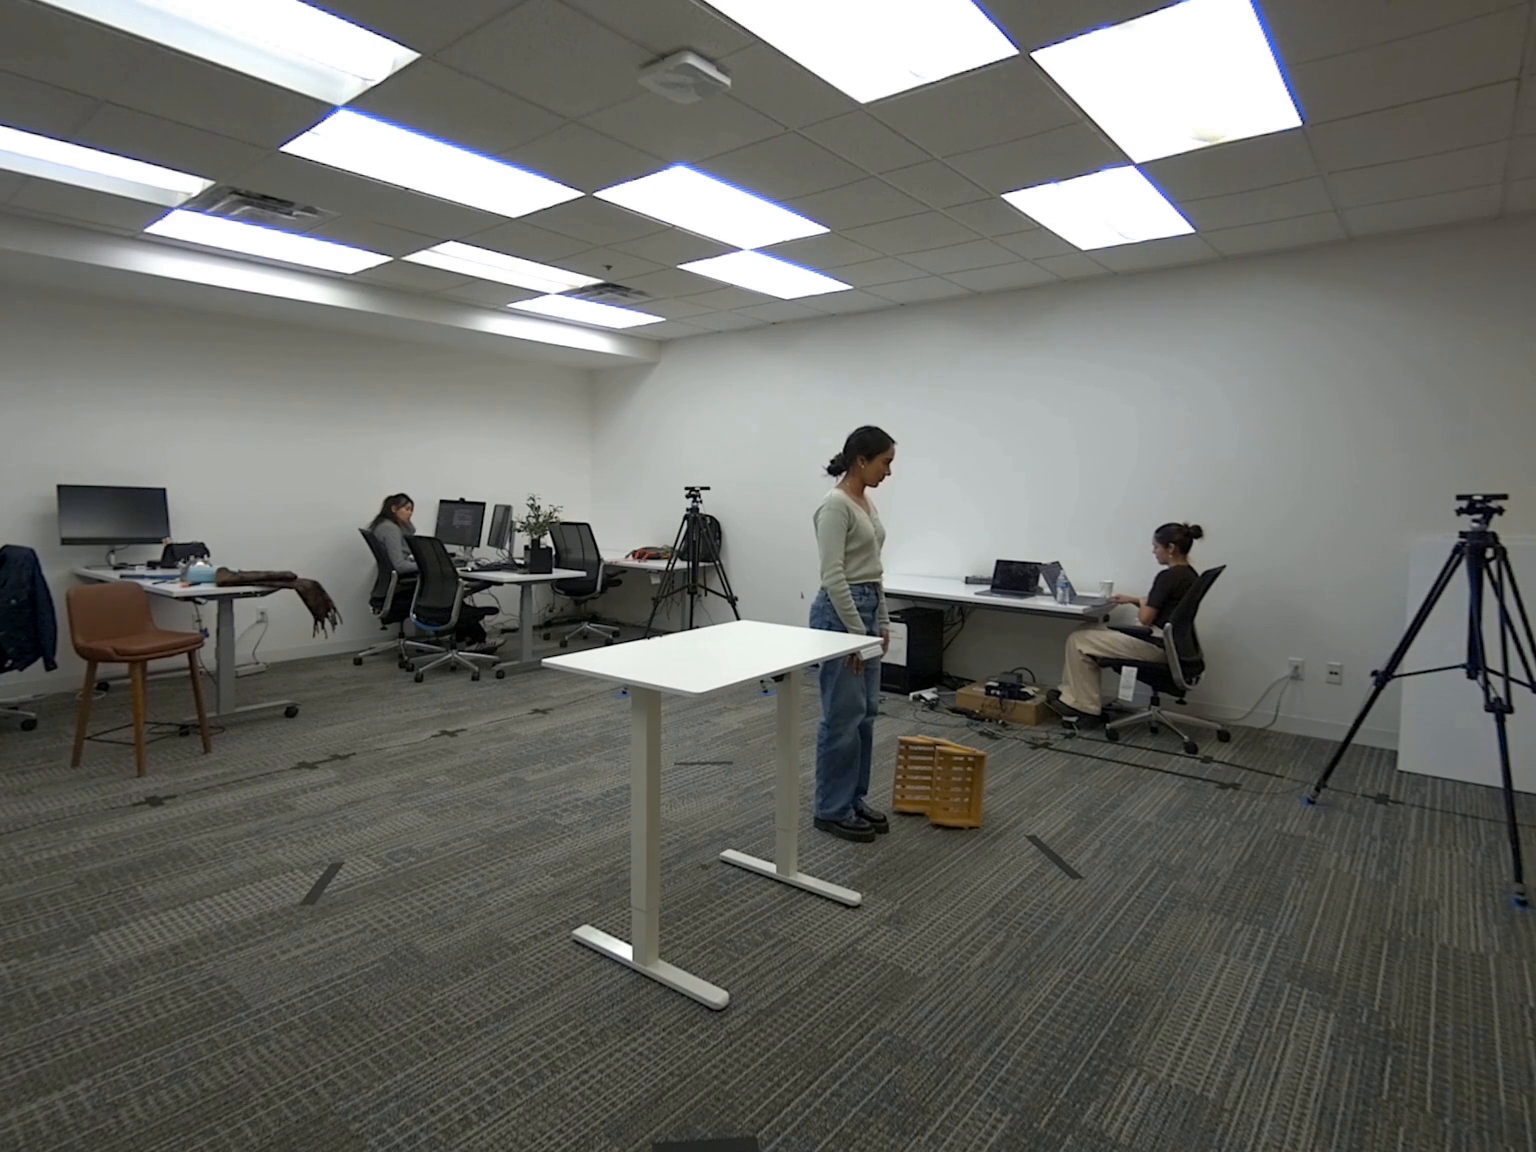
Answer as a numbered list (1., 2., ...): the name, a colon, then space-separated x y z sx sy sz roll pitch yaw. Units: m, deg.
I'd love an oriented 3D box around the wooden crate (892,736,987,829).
1. wooden crate: 0.716 0.868 3.619 0.296 0.325 0.279 6 -1 -20
